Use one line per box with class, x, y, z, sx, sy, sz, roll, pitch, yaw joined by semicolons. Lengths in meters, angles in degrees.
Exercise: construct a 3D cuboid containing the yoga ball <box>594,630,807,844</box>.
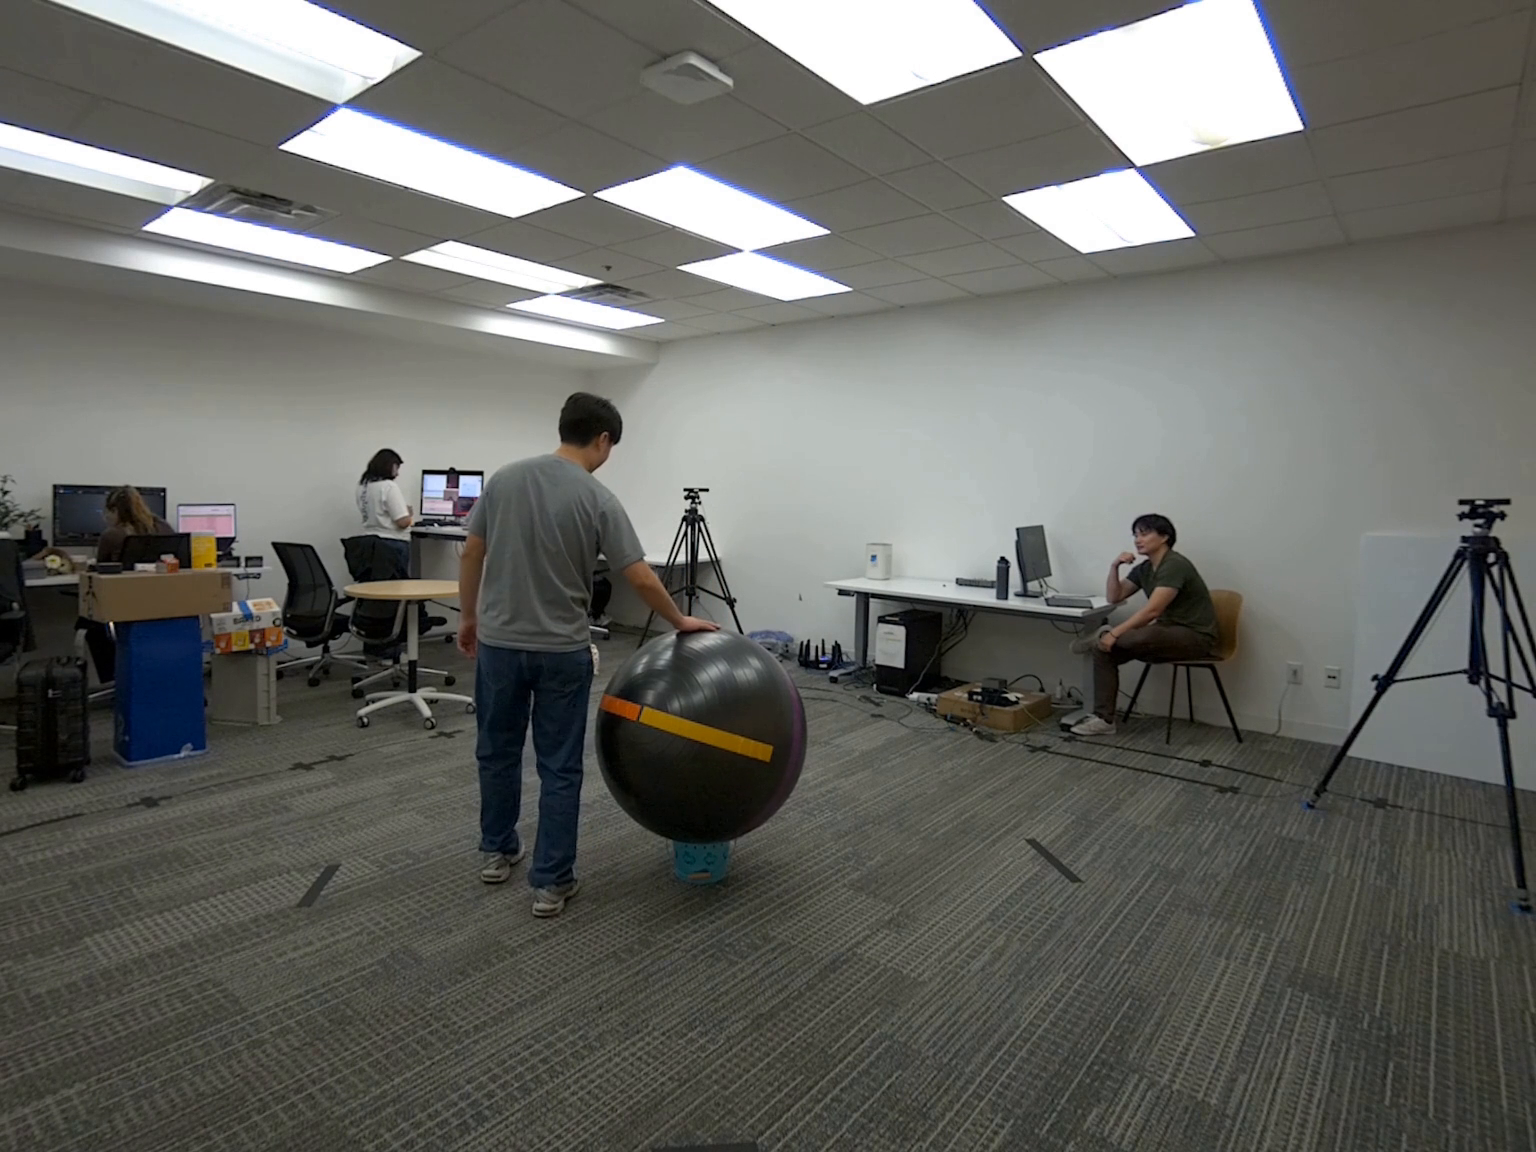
yoga ball;-0.246;0.565;3.061;0.757;0.755;0.762;1;4;-2
